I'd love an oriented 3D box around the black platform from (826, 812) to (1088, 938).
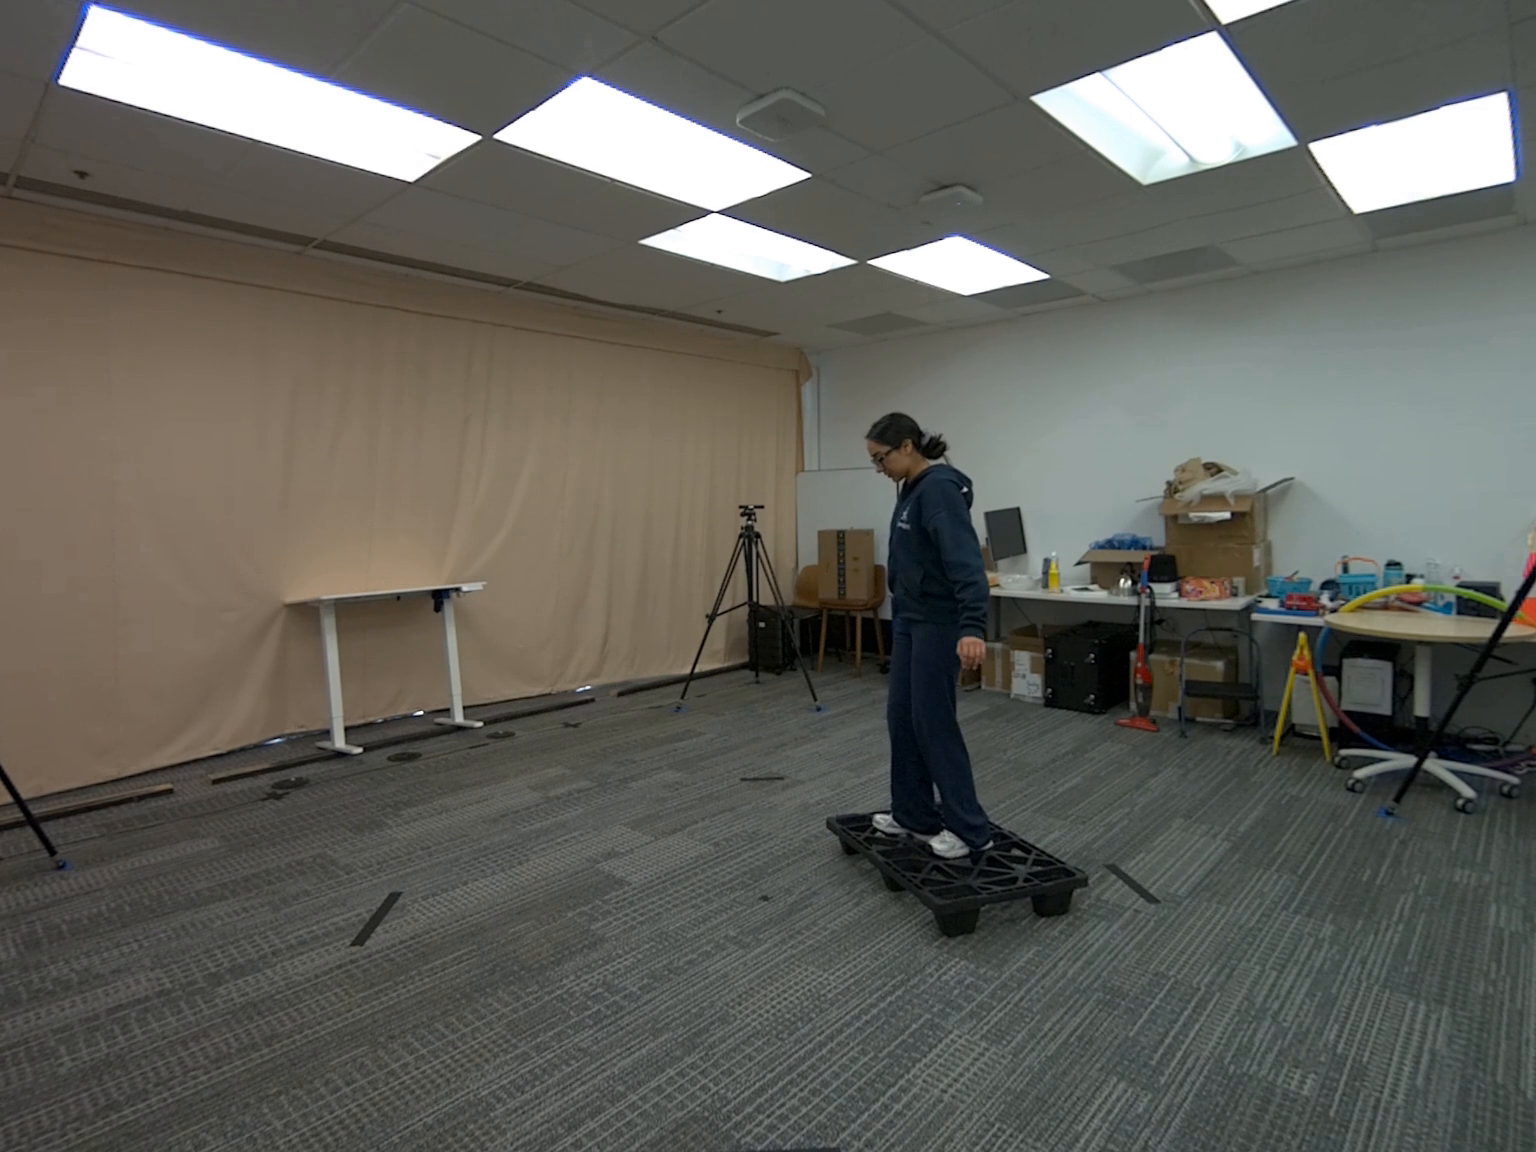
[{"bbox_3d":[0.658,1.052,3.094,0.593,0.143,0.823,-3,4,-20],"label":"black platform"}]
